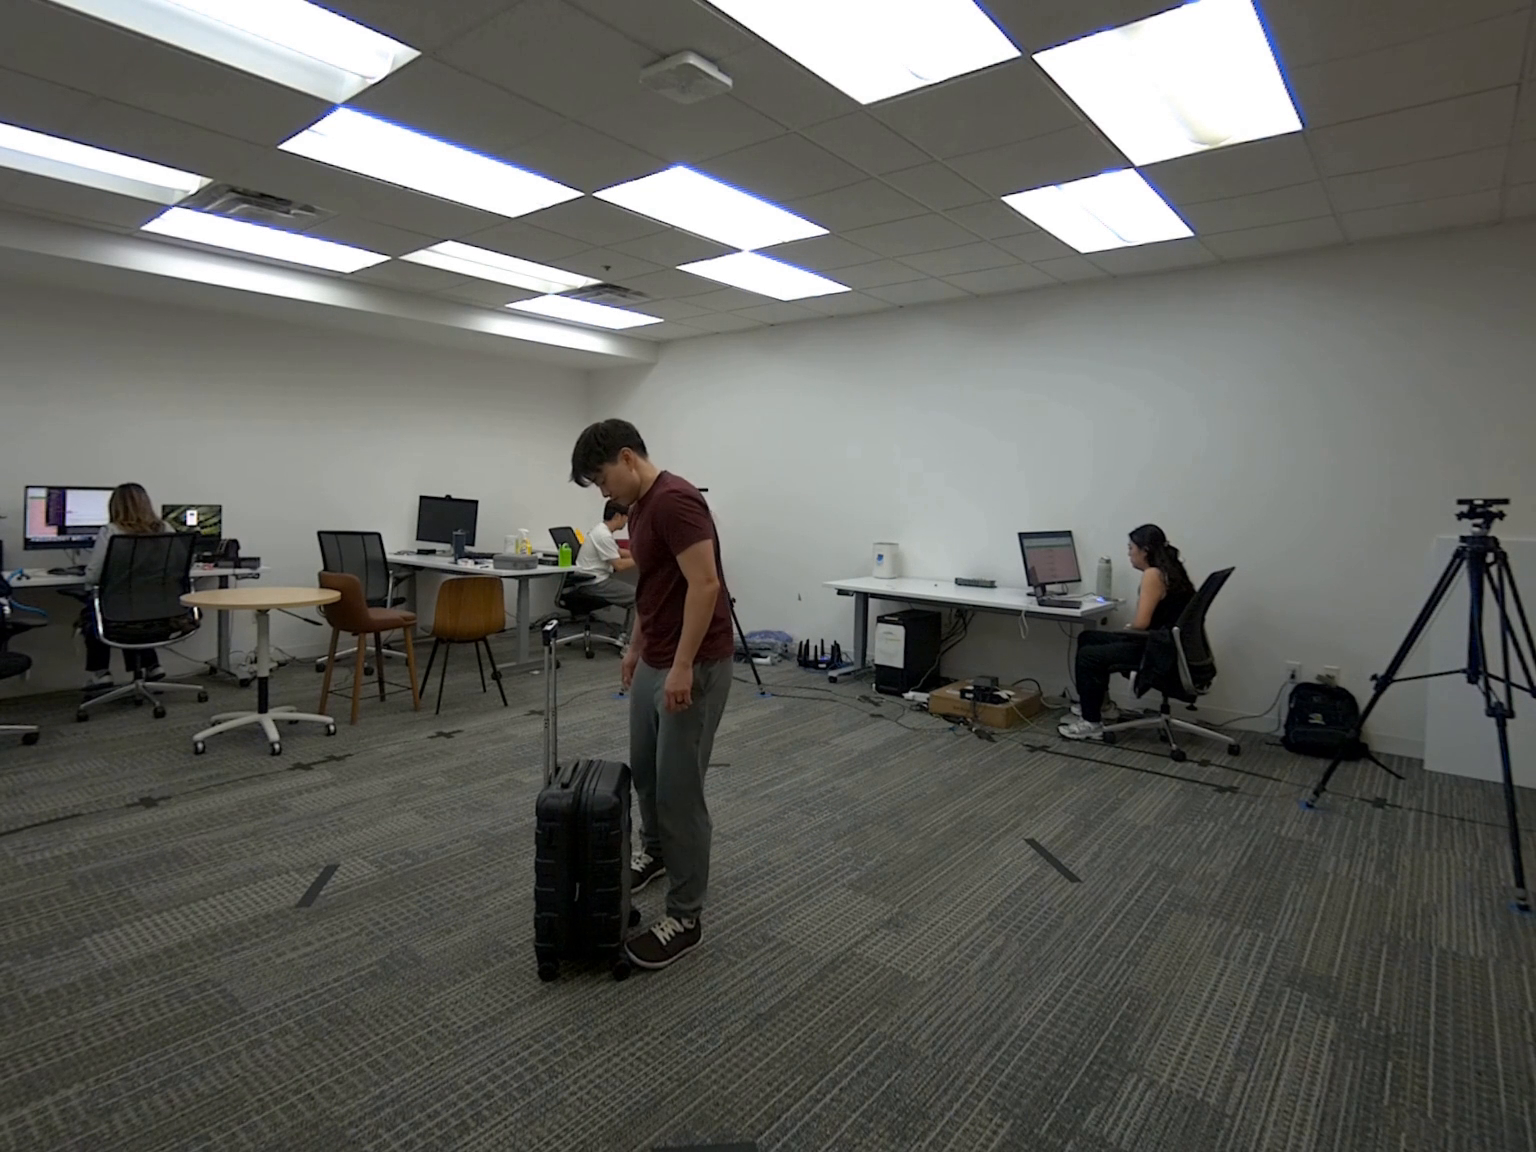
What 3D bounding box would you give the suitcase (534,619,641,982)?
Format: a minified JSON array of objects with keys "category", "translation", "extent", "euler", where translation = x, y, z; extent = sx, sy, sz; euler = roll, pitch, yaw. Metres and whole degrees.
[{"category":"suitcase","translation":[-0.551,0.642,2.522],"extent":[0.257,0.976,0.385],"euler":[1,3,-2]}]
